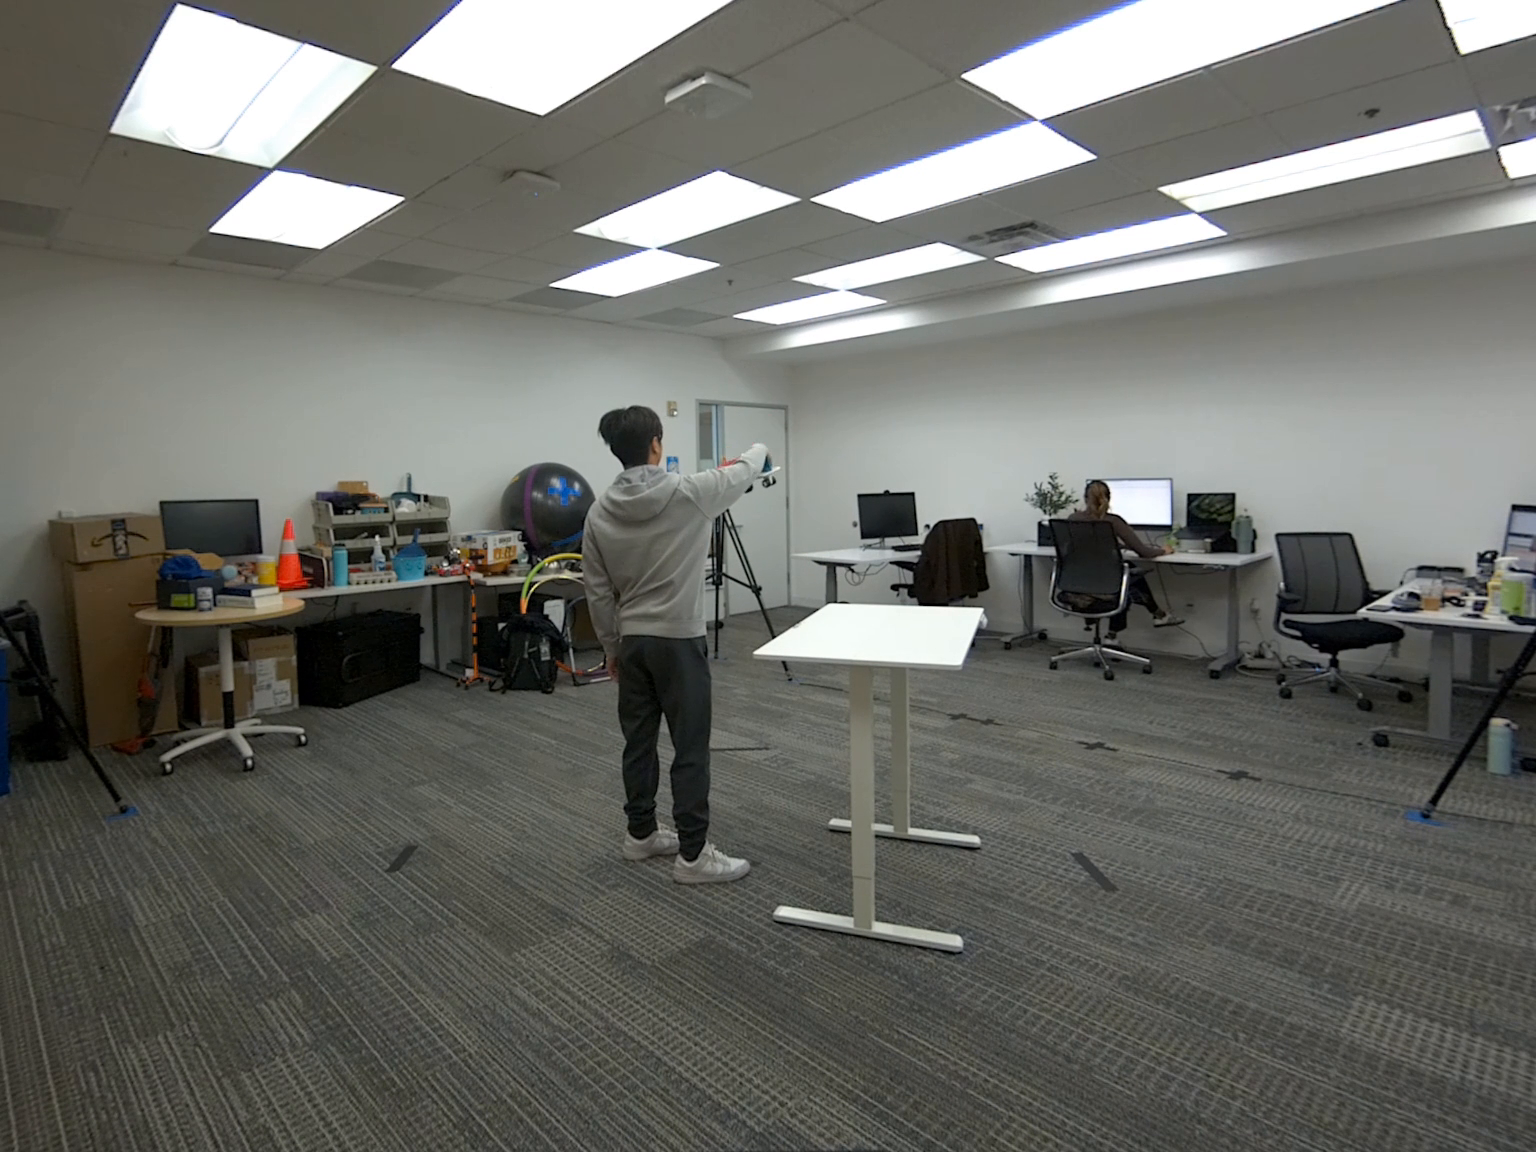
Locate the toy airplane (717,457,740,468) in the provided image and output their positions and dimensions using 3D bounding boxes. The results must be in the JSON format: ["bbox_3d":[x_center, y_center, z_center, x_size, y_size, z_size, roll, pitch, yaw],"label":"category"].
[{"bbox_3d":[-0.066,-0.429,3.528,0.262,0.155,0.250,-19,8,19],"label":"toy airplane"}]
